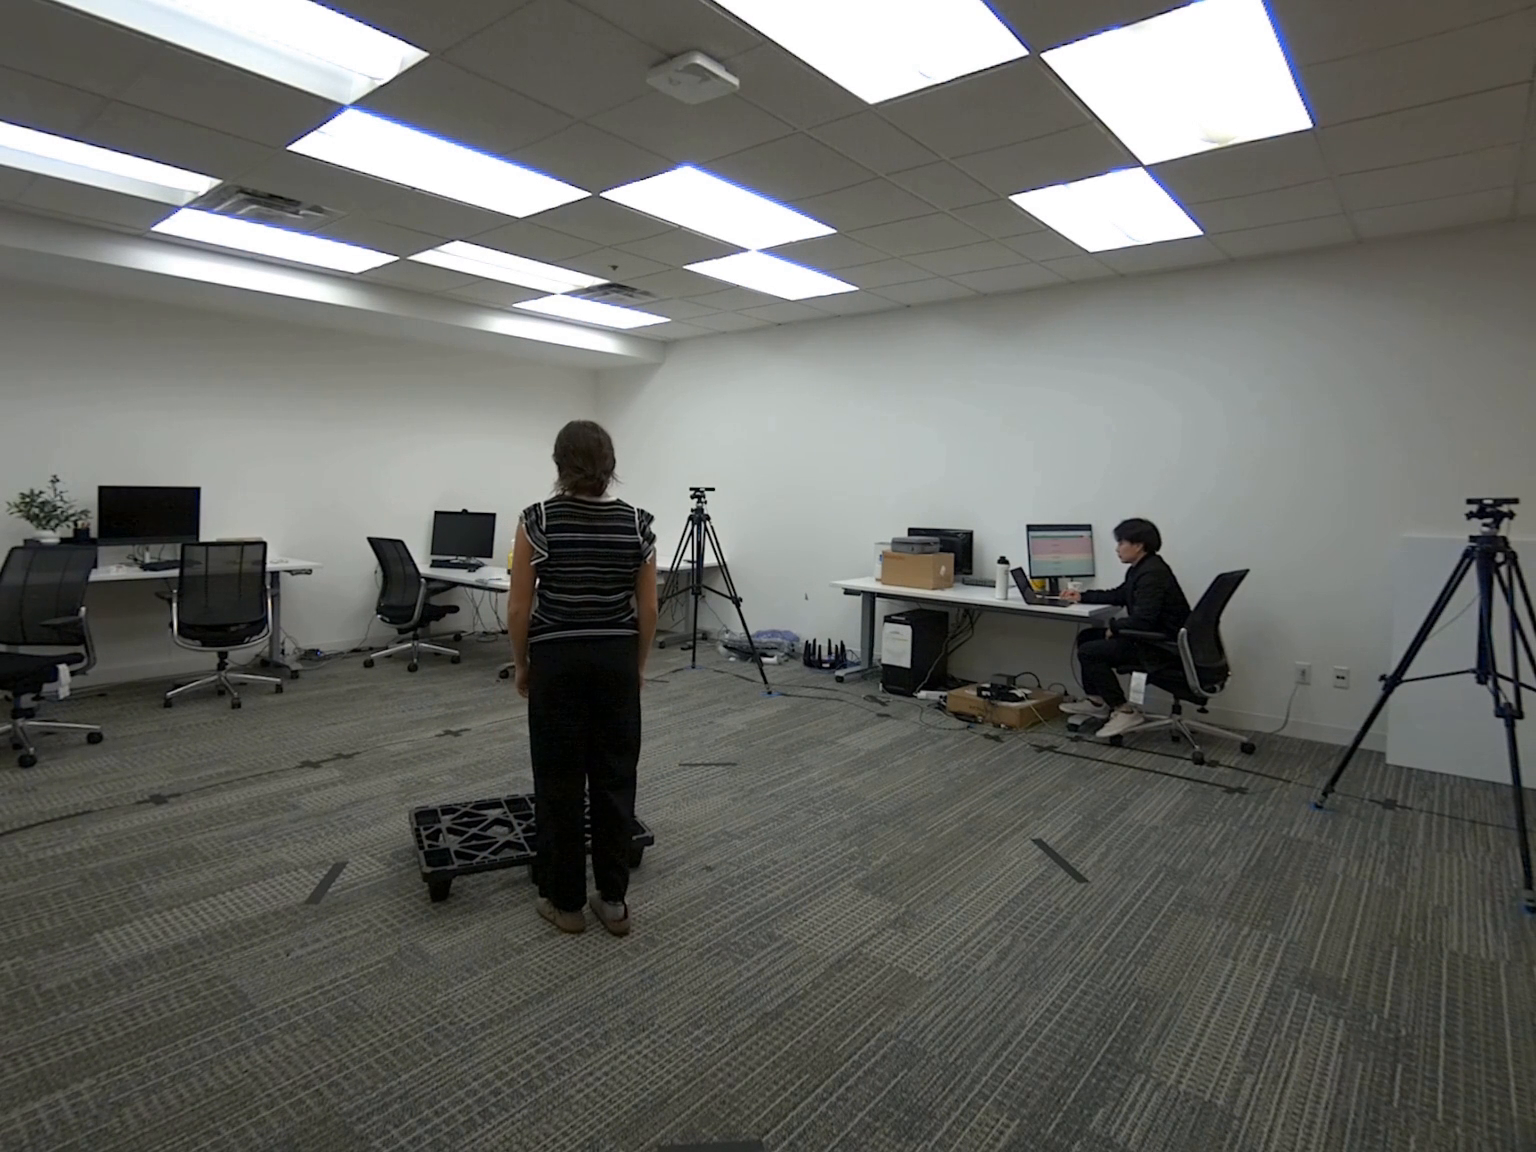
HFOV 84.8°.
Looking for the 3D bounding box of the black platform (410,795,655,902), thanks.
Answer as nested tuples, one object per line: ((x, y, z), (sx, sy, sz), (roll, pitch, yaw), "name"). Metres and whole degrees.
((-0.909, 0.986, 3.173), (0.786, 0.142, 0.623), (-2, 7, -26), "black platform")
